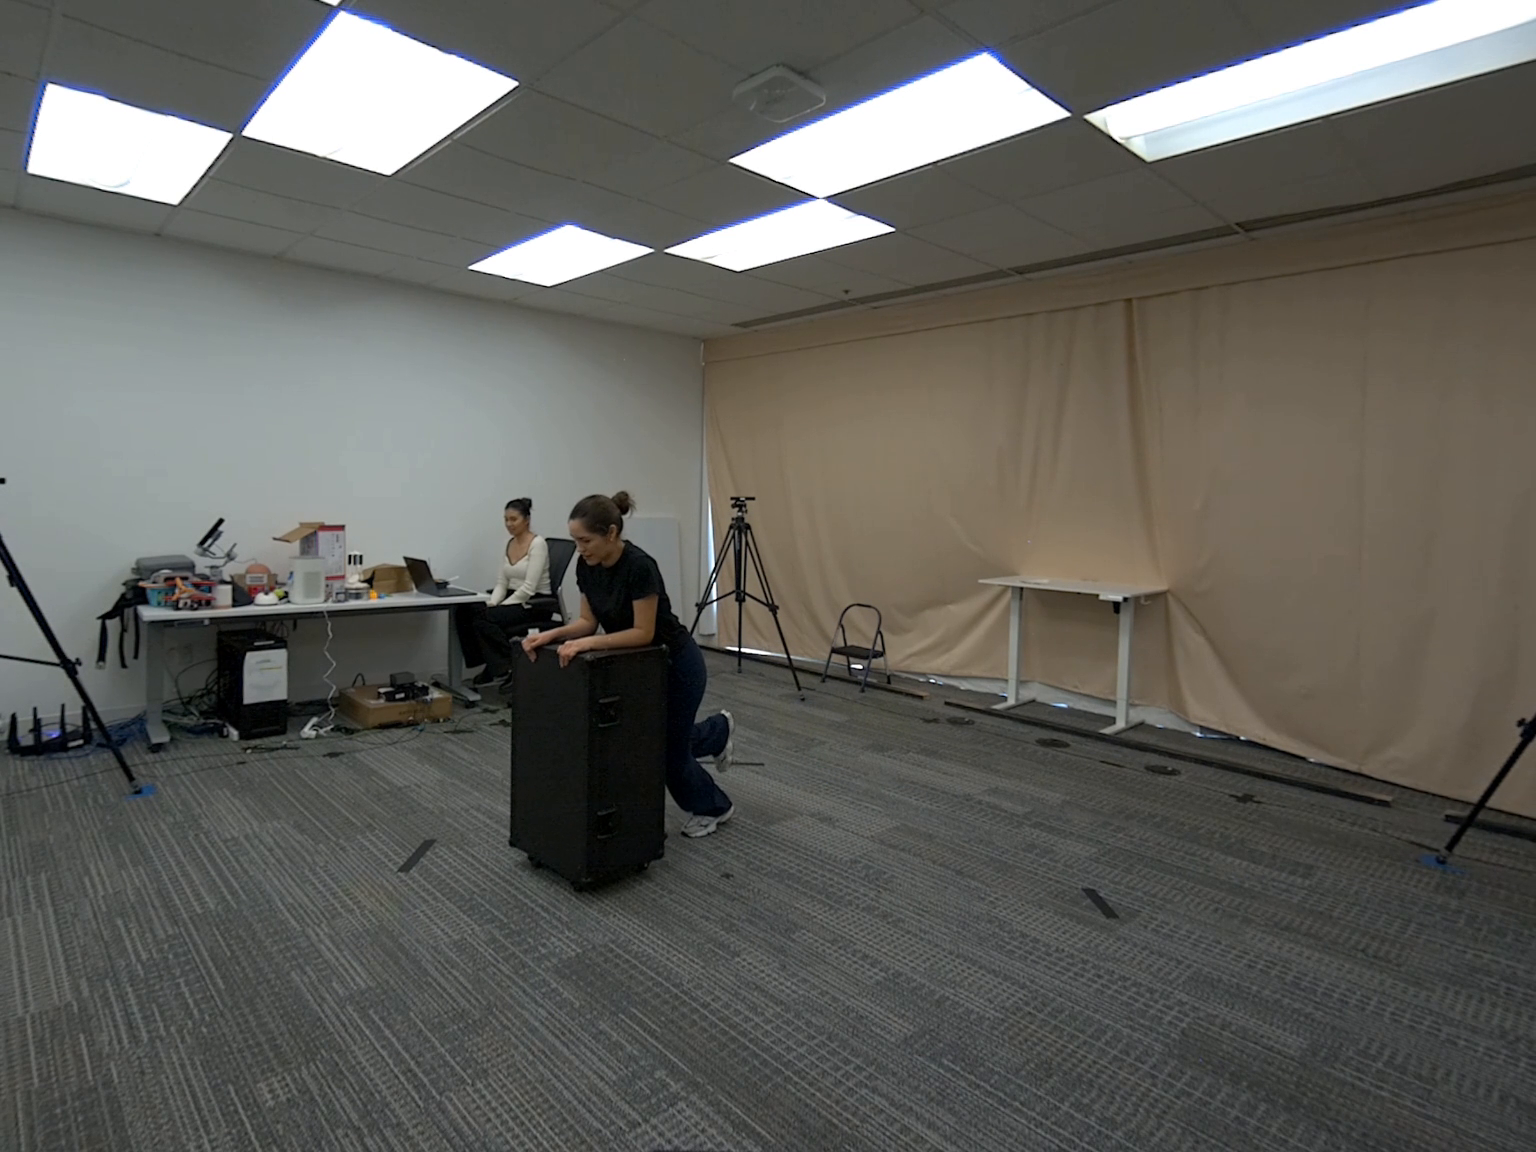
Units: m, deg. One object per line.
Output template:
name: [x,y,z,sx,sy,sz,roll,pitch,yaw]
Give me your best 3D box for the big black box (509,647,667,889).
big black box: [-0.662,0.619,3.087,0.534,0.859,0.387,5,5,42]
